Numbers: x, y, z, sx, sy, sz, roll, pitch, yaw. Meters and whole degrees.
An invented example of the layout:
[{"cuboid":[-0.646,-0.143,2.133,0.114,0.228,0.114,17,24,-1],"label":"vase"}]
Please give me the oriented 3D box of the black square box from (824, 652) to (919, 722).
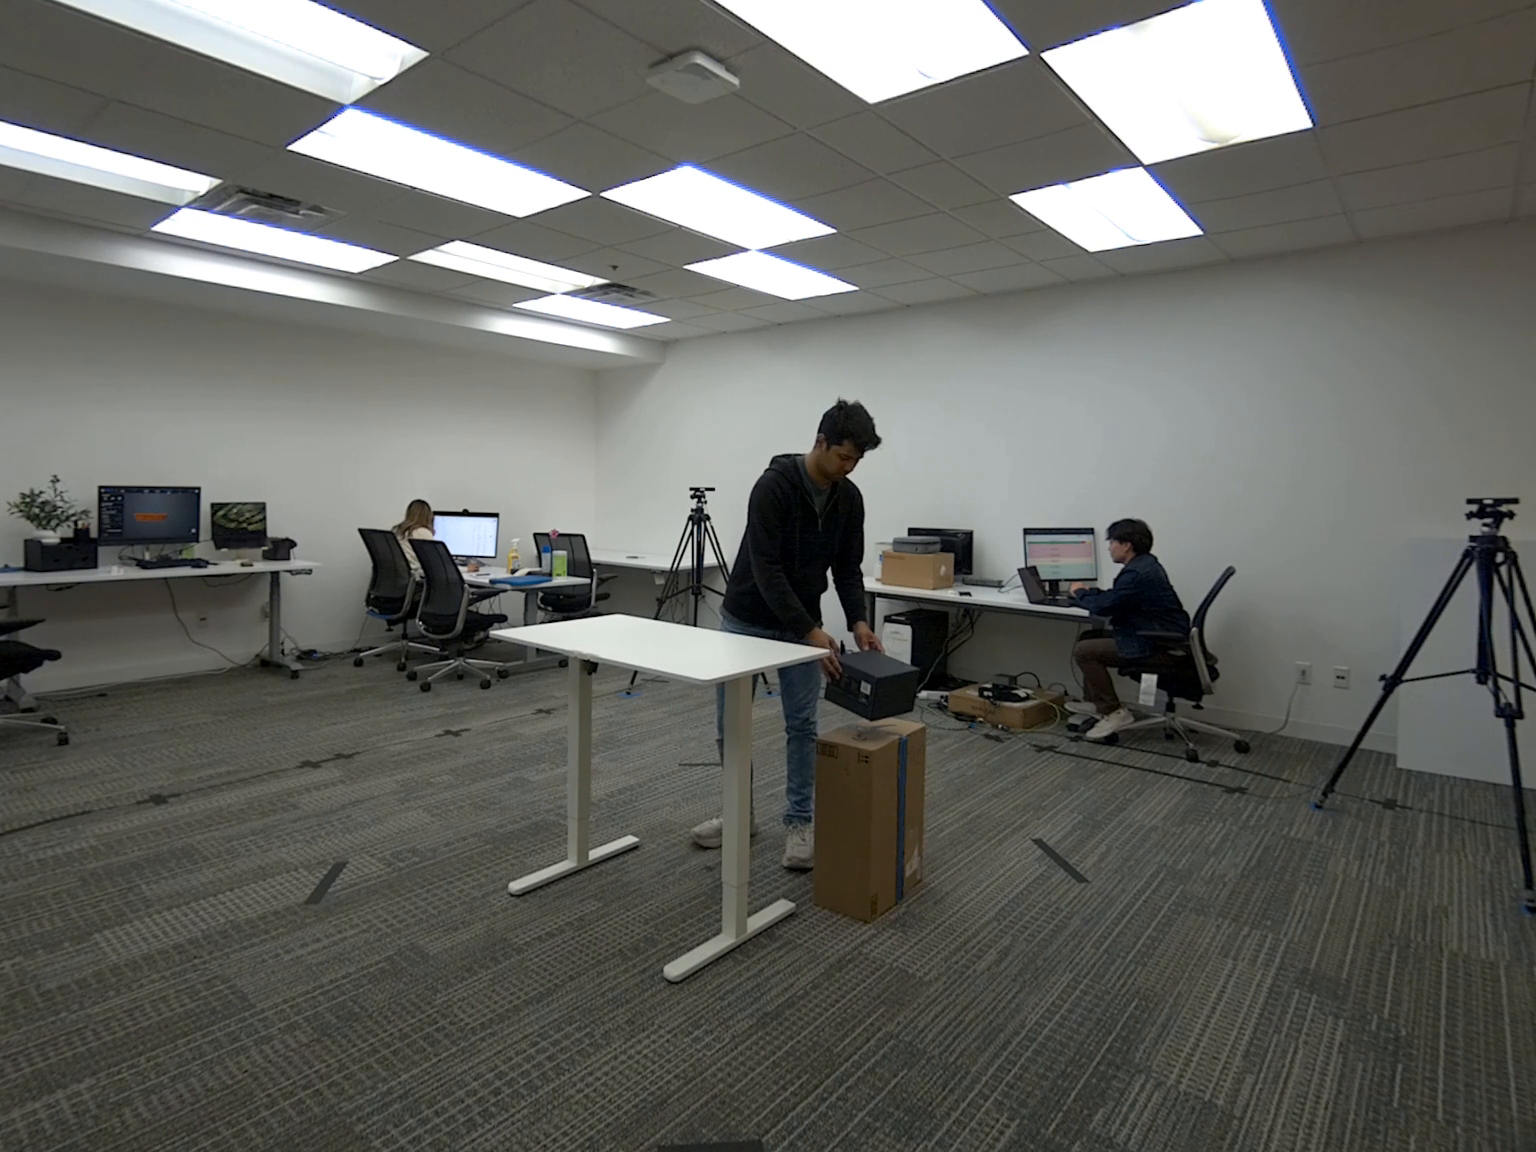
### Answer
[{"cuboid":[0.352,0.365,2.900,0.221,0.154,0.225,-5,16,-42],"label":"black square box"}]
